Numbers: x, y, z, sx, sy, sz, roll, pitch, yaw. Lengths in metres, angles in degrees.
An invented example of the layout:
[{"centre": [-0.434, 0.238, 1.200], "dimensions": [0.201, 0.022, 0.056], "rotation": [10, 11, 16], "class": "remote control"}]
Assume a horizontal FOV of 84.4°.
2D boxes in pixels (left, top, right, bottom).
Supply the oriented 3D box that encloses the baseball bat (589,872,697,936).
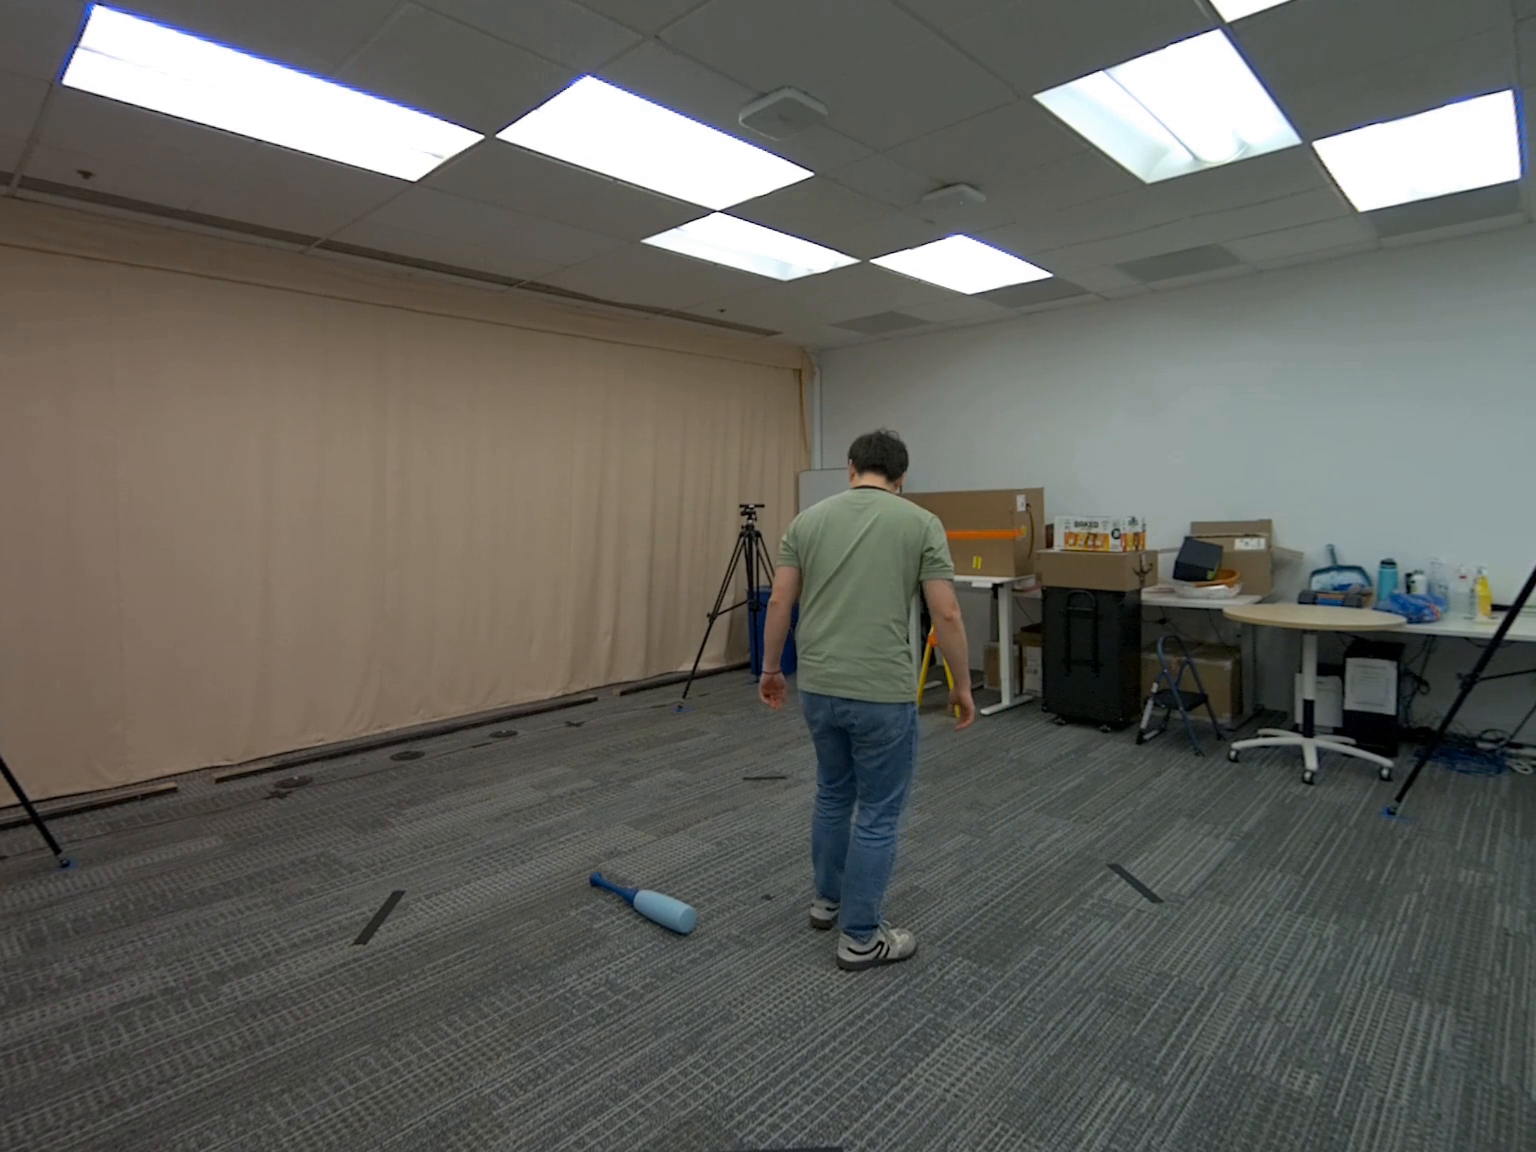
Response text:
[{"centre": [-0.452, 1.121, 2.912], "dimensions": [0.560, 0.089, 0.086], "rotation": [-2, 2, 45], "class": "baseball bat"}]
